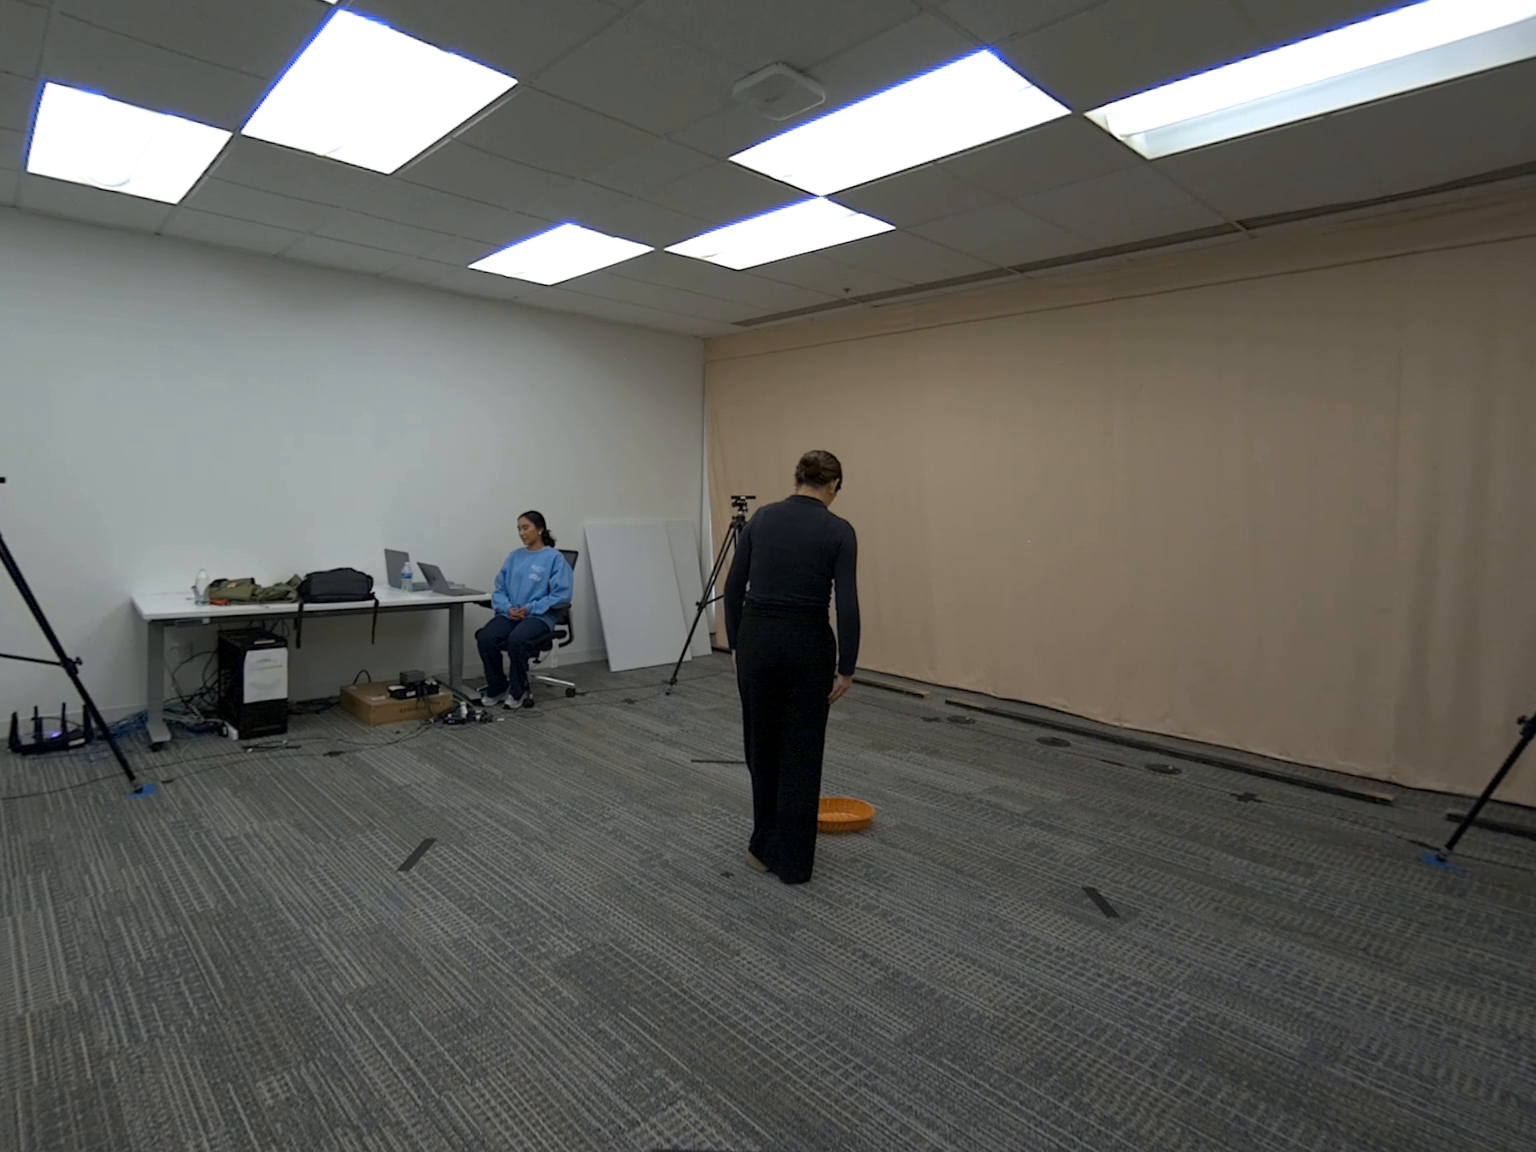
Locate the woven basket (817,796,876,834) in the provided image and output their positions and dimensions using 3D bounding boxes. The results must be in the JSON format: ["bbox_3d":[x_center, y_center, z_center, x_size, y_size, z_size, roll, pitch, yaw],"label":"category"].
[{"bbox_3d":[0.279,1.027,3.616,0.346,0.073,0.256,1,7,-14],"label":"woven basket"}]
